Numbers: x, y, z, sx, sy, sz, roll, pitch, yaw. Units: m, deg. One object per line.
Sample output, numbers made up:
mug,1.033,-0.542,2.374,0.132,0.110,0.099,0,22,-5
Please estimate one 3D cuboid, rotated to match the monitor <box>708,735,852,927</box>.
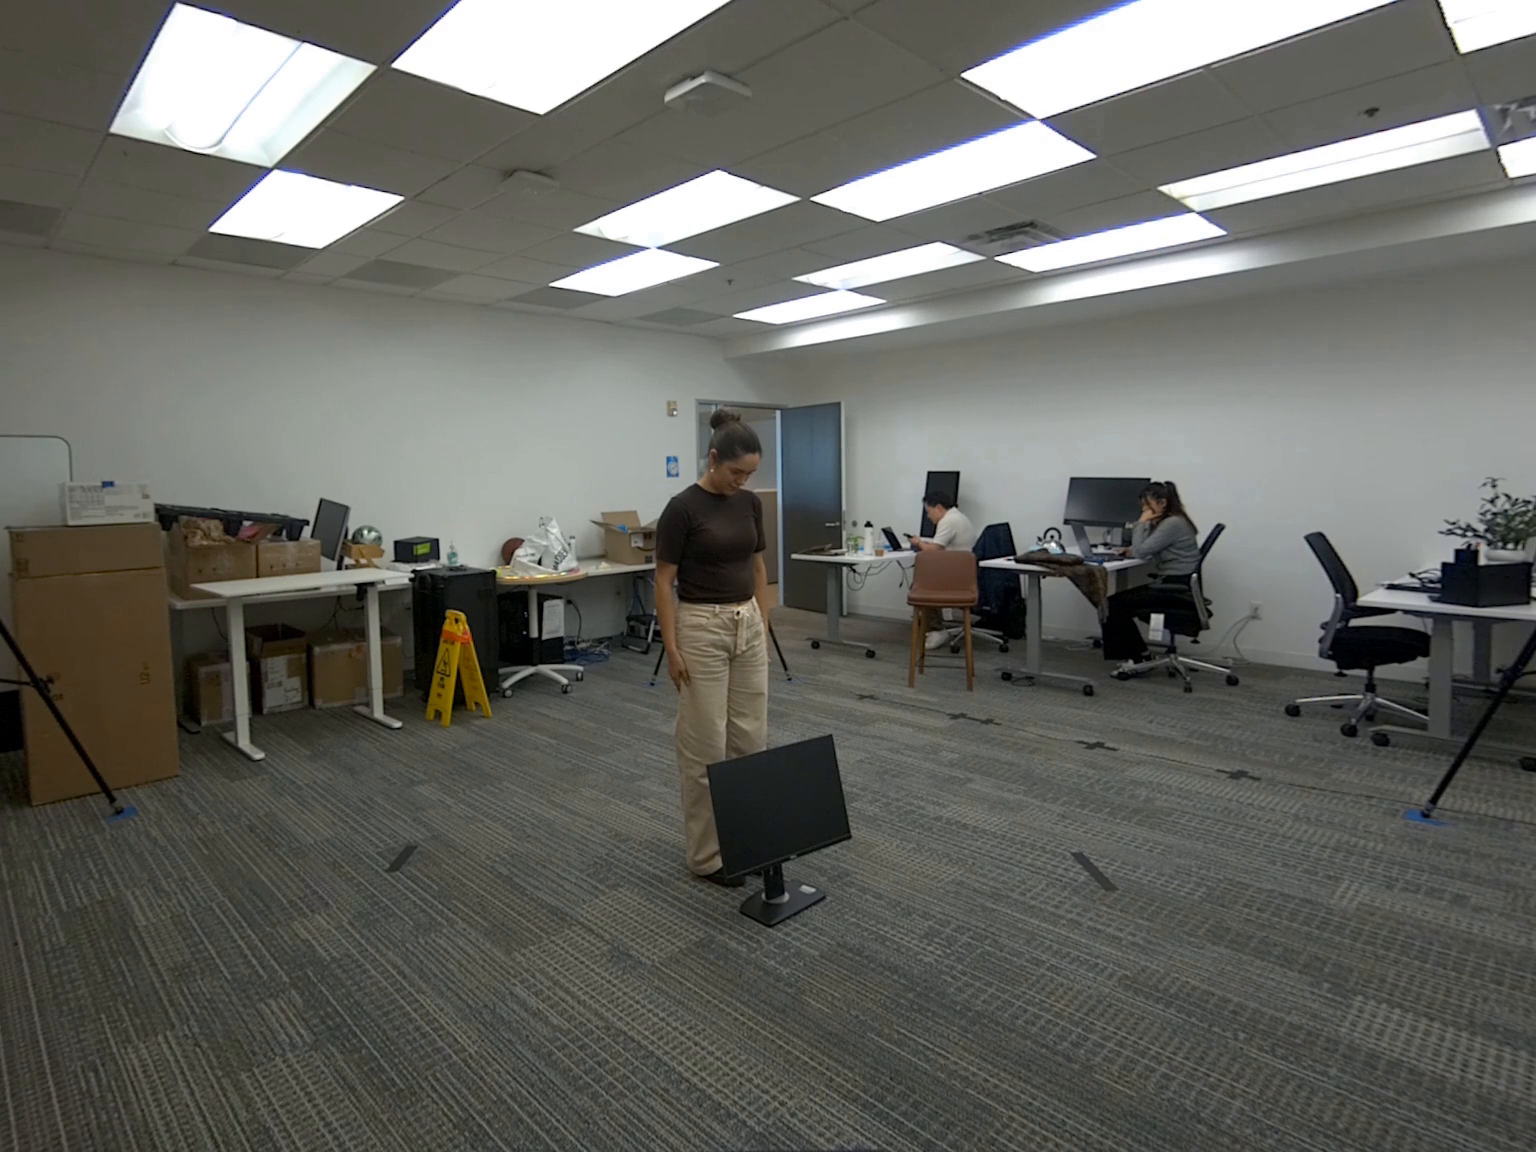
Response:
monitor,0.029,0.828,2.798,0.525,0.521,0.192,-5,4,-42
